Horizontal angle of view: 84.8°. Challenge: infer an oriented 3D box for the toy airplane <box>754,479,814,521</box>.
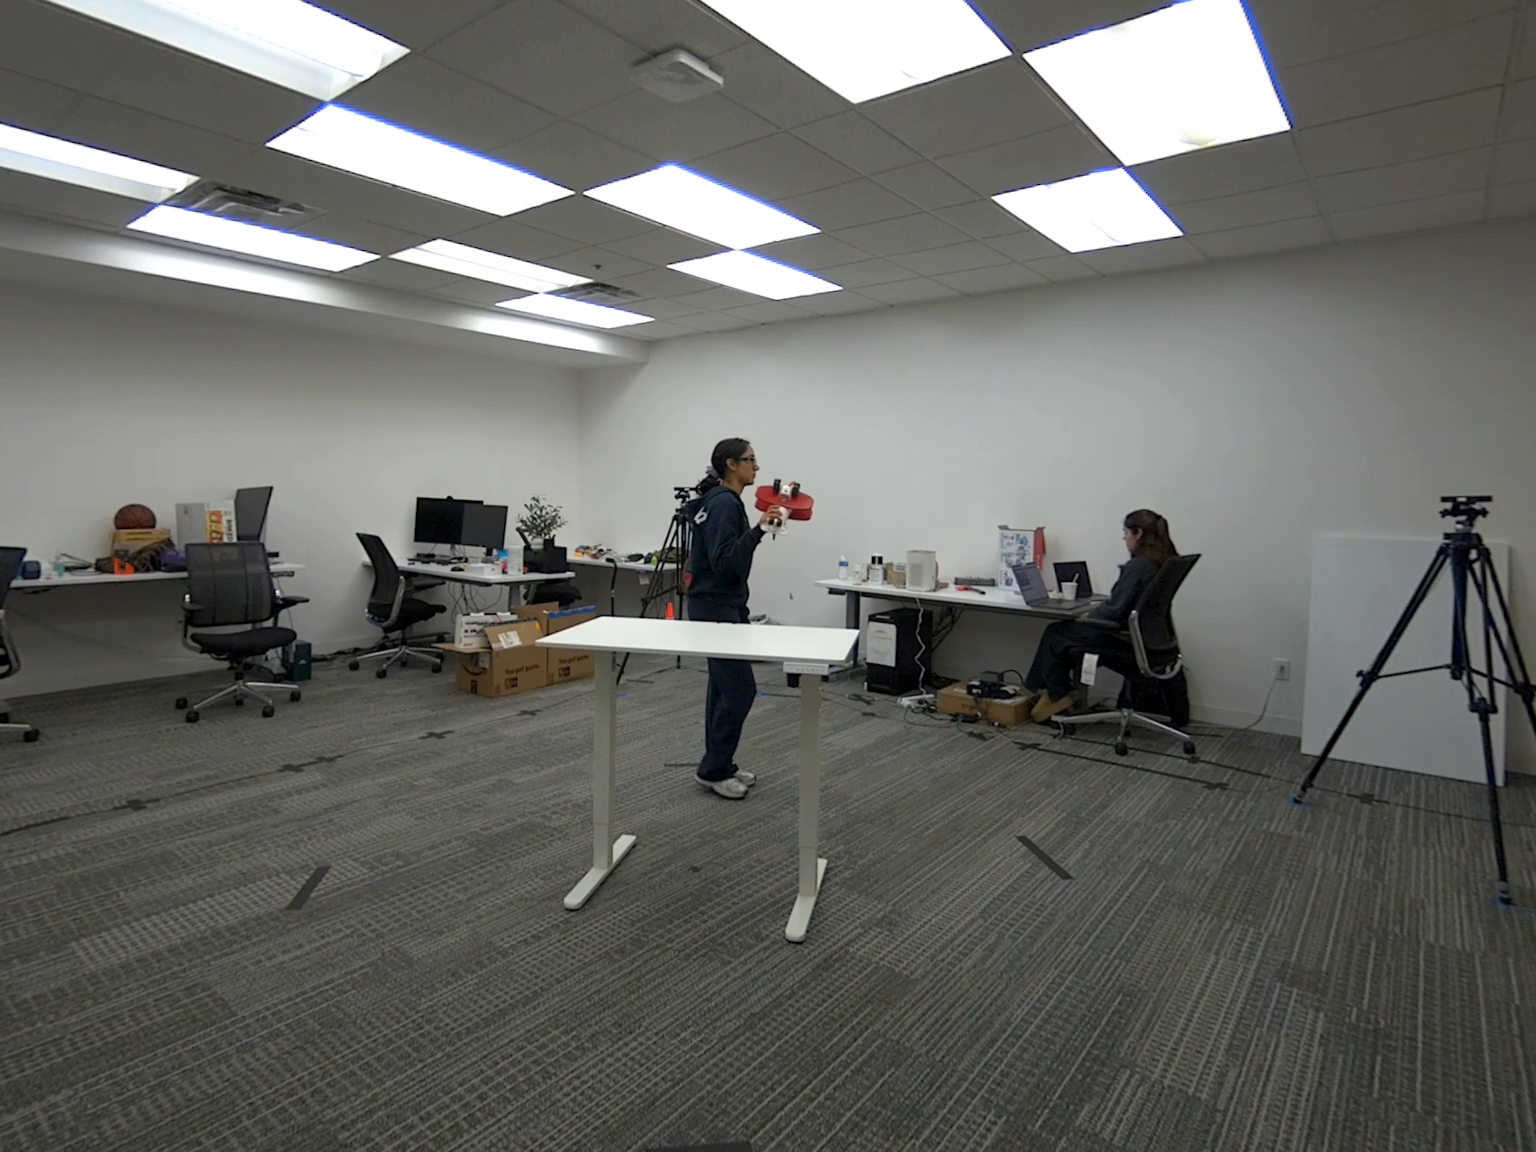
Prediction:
[{"bbox_3d":[0.039,-0.303,3.685,0.258,0.259,0.152,40,-13,18],"label":"toy airplane"}]
